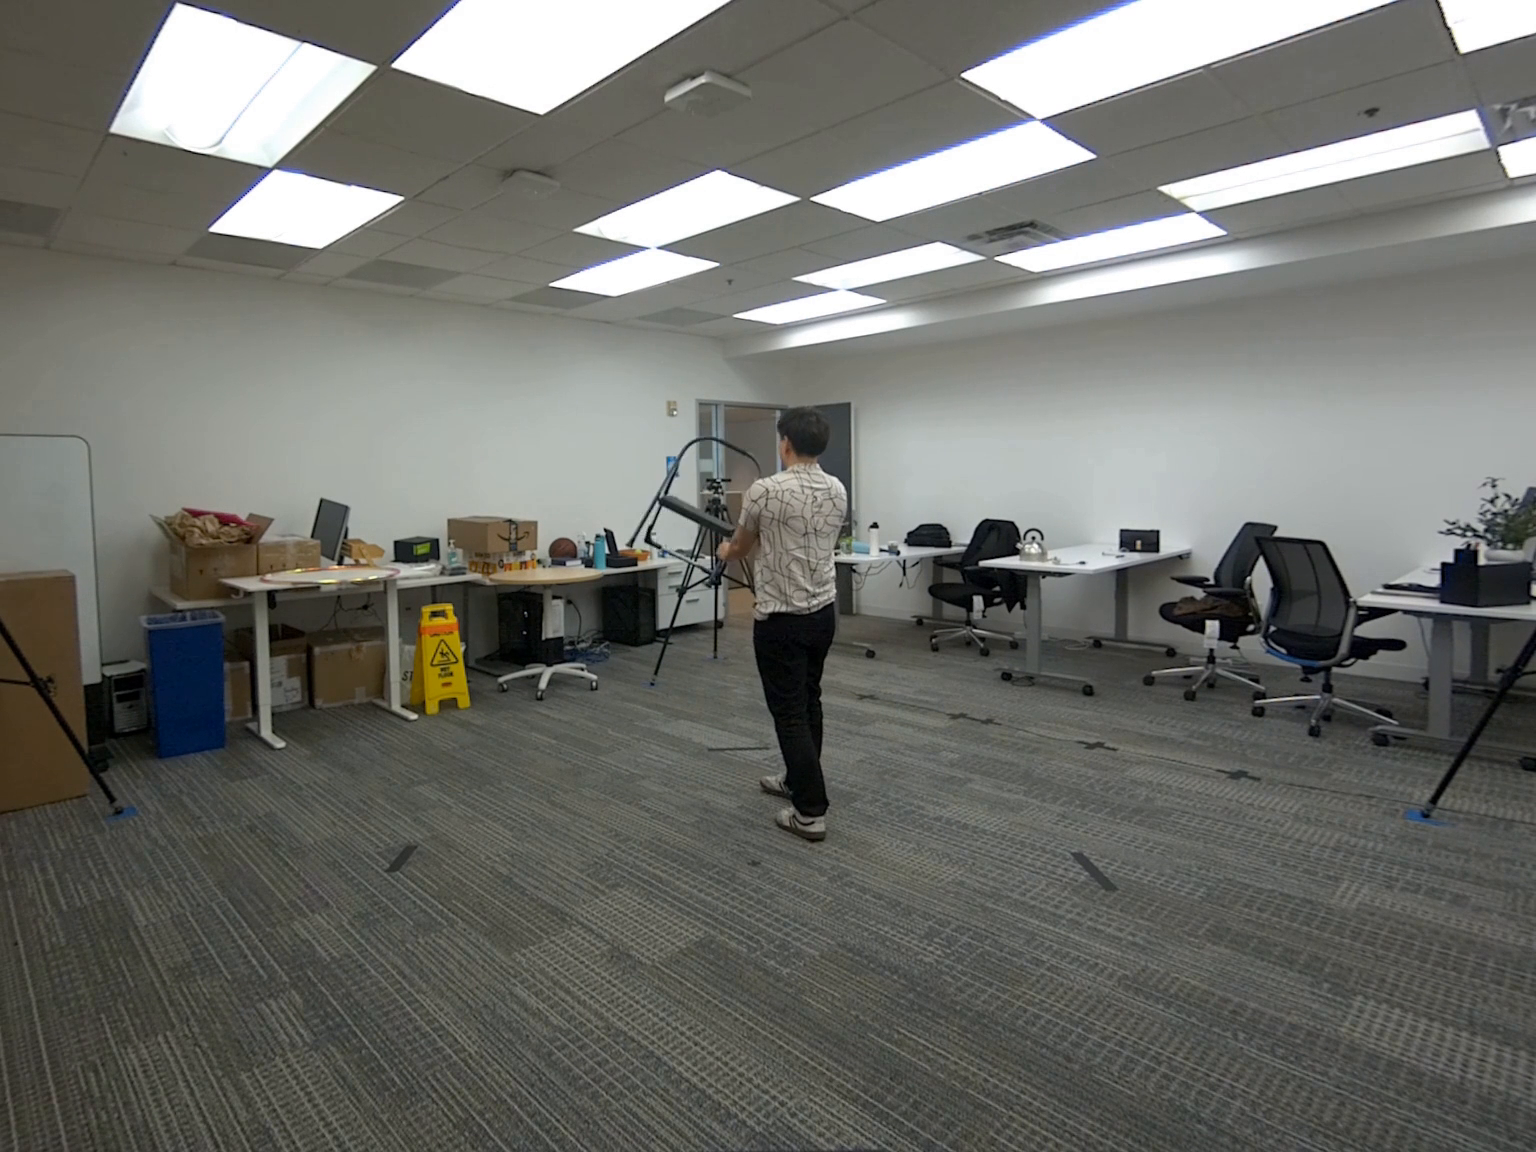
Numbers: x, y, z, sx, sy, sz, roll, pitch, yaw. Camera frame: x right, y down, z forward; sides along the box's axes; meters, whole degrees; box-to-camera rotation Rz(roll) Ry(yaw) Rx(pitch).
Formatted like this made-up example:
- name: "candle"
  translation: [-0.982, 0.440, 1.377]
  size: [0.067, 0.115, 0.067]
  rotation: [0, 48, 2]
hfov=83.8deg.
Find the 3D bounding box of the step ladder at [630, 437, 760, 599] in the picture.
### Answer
- name: "step ladder"
  translation: [-0.294, -0.322, 3.897]
  size: [0.433, 0.604, 0.348]
  rotation: [28, 7, 3]
